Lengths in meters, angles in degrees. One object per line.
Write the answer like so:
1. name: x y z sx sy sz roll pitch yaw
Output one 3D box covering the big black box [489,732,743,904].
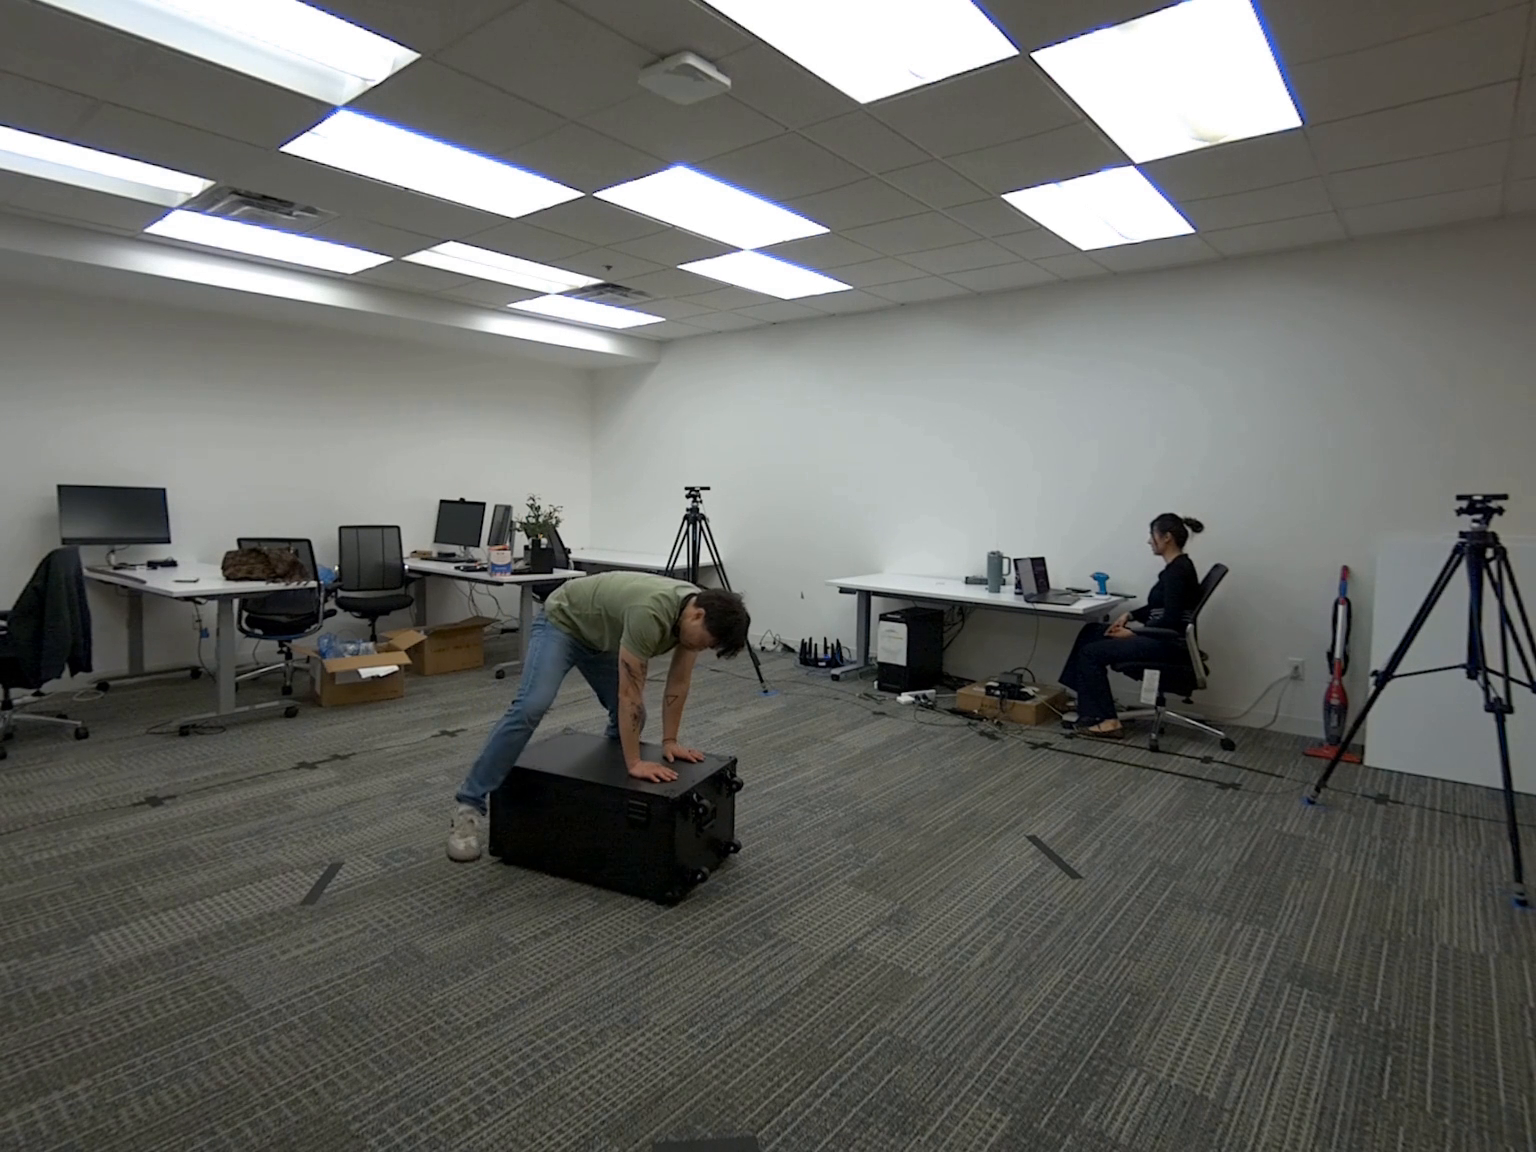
1. big black box: -0.554 0.870 3.147 0.883 0.395 0.510 2 5 24
